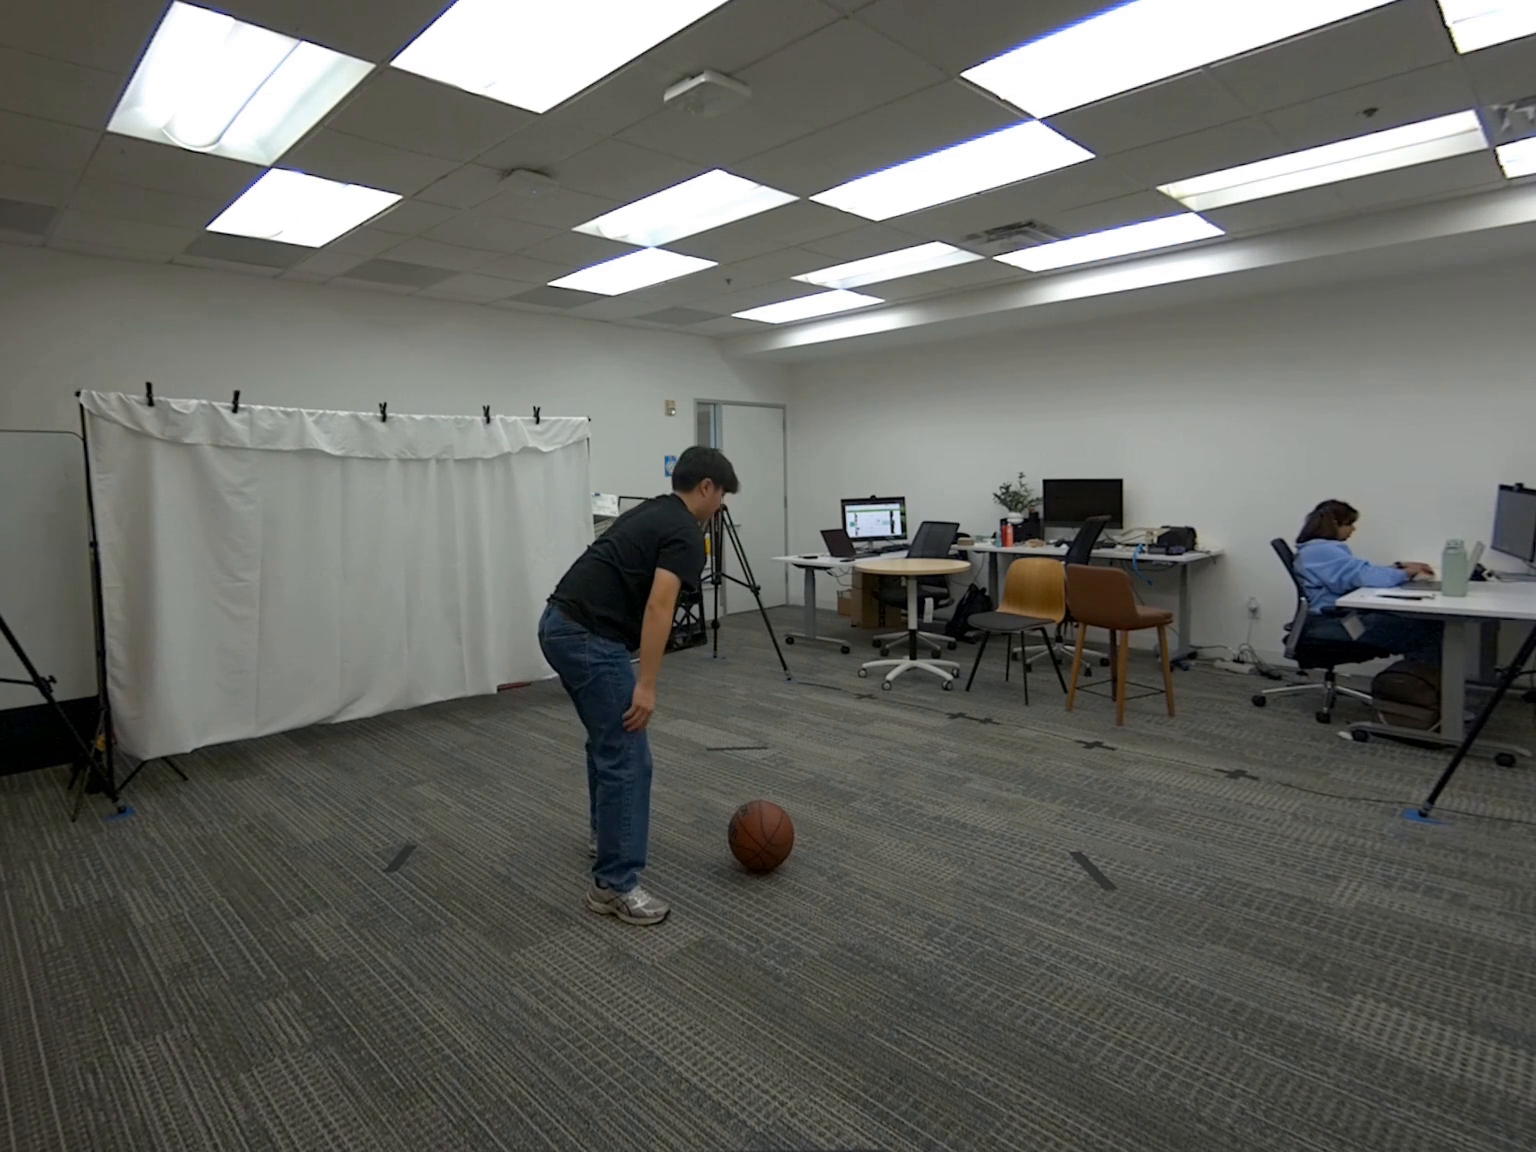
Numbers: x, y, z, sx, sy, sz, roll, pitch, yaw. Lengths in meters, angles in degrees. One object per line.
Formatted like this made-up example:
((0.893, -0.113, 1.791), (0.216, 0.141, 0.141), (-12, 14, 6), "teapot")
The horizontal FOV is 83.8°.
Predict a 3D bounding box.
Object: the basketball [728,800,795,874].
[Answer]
((-0.023, 0.925, 3.060), (0.236, 0.235, 0.237), (-1, 5, -2), "basketball")
